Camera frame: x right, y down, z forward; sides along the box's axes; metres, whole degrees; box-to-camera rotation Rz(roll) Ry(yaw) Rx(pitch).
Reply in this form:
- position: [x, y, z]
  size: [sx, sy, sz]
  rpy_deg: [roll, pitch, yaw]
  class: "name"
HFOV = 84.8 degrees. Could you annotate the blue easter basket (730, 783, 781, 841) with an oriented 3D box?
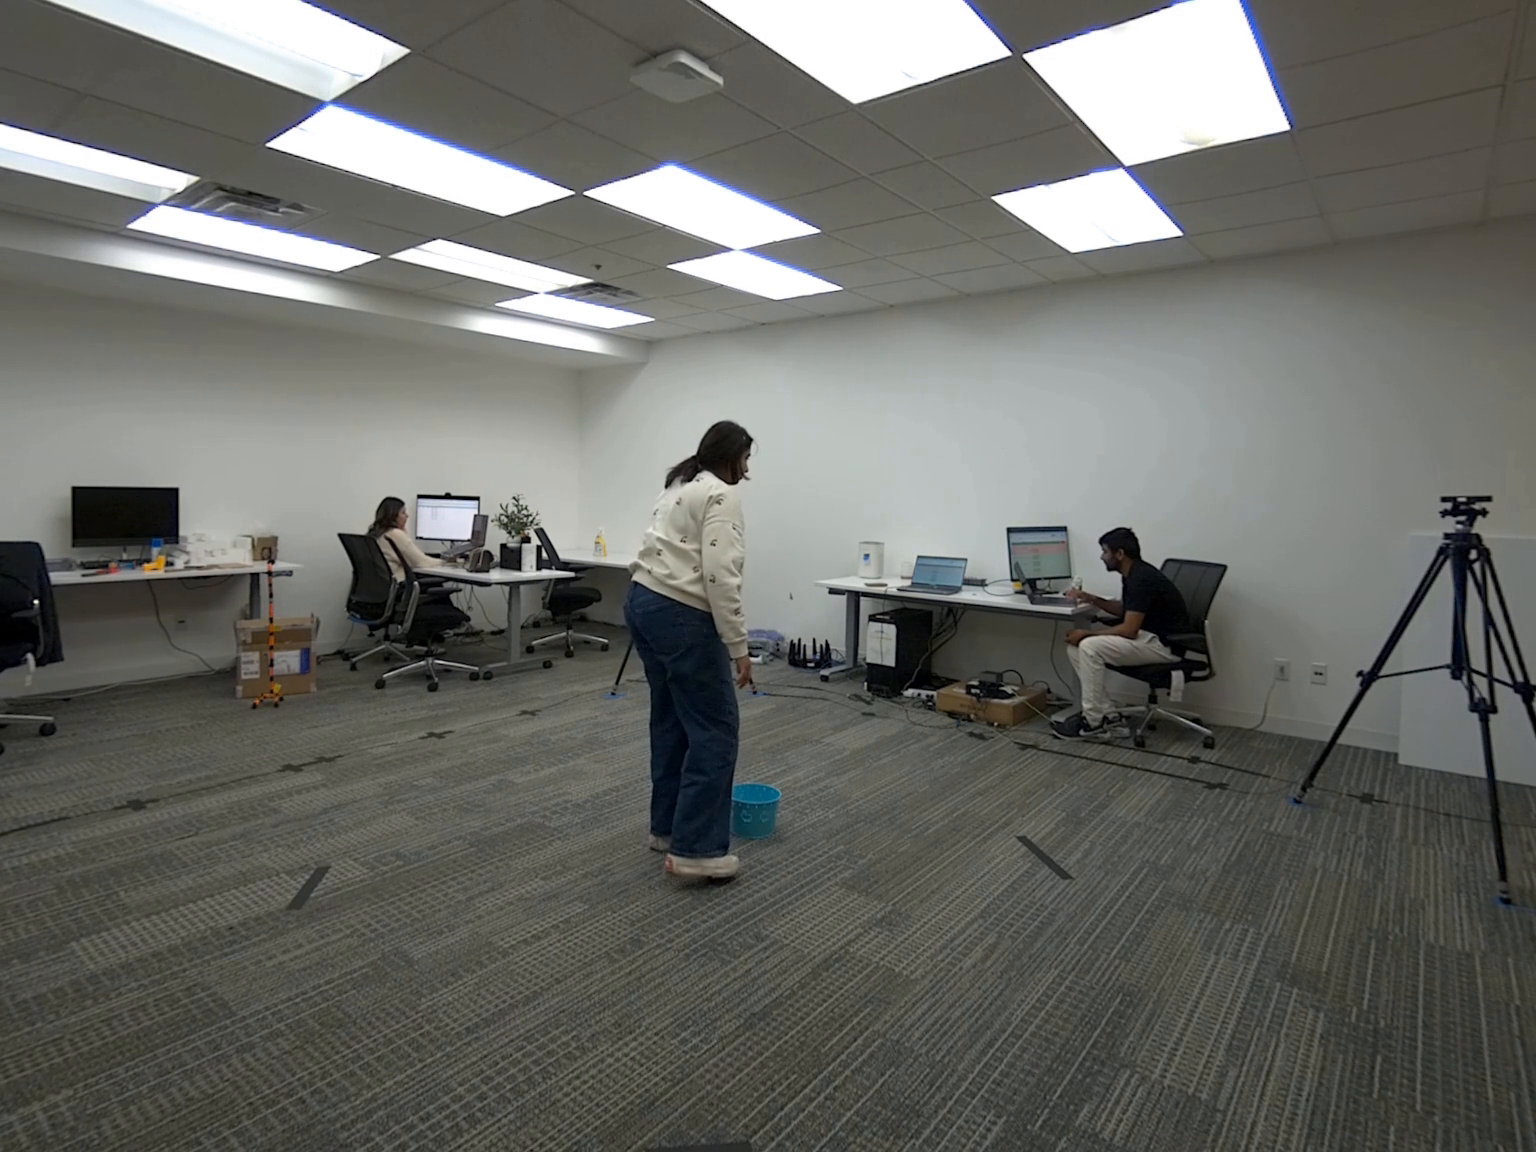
- position: [-0.071, 0.954, 3.482]
  size: [0.243, 0.155, 0.245]
  rpy_deg: [1, 5, -2]
  class: "blue easter basket"
